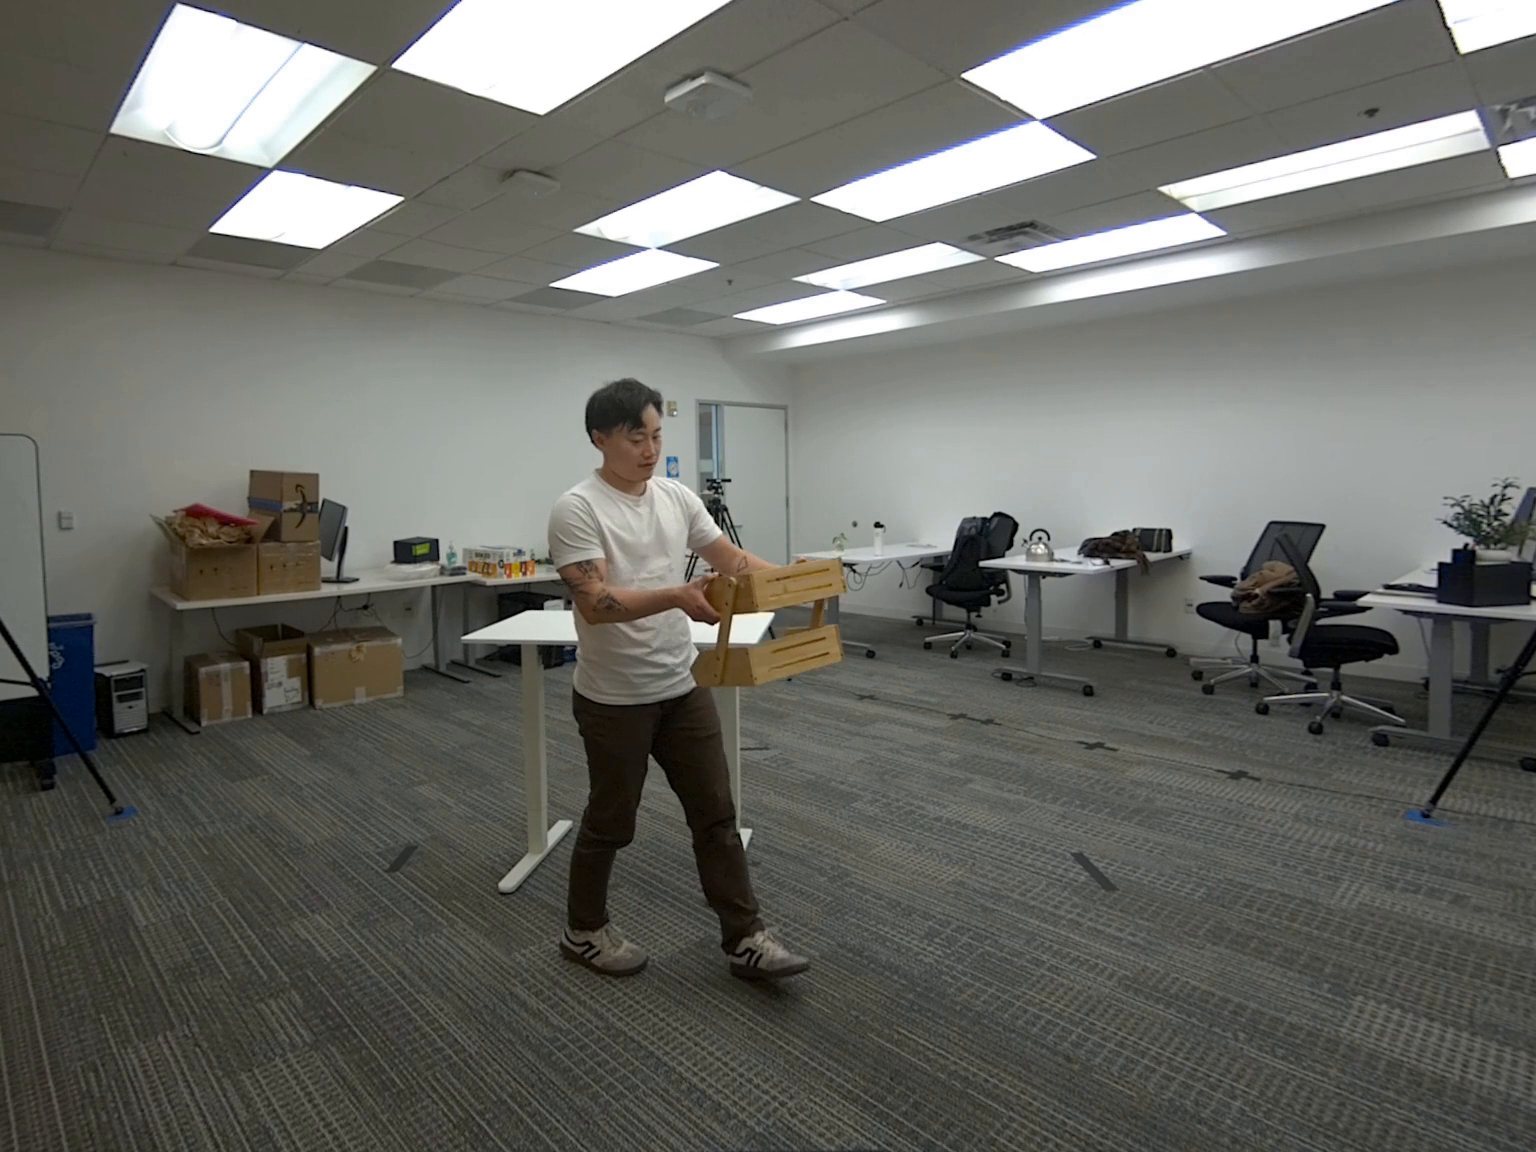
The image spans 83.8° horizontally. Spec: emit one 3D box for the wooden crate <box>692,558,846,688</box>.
[{"bbox_3d":[-0.002,0.109,2.141,0.317,0.273,0.309,-10,0,-39],"label":"wooden crate"}]
